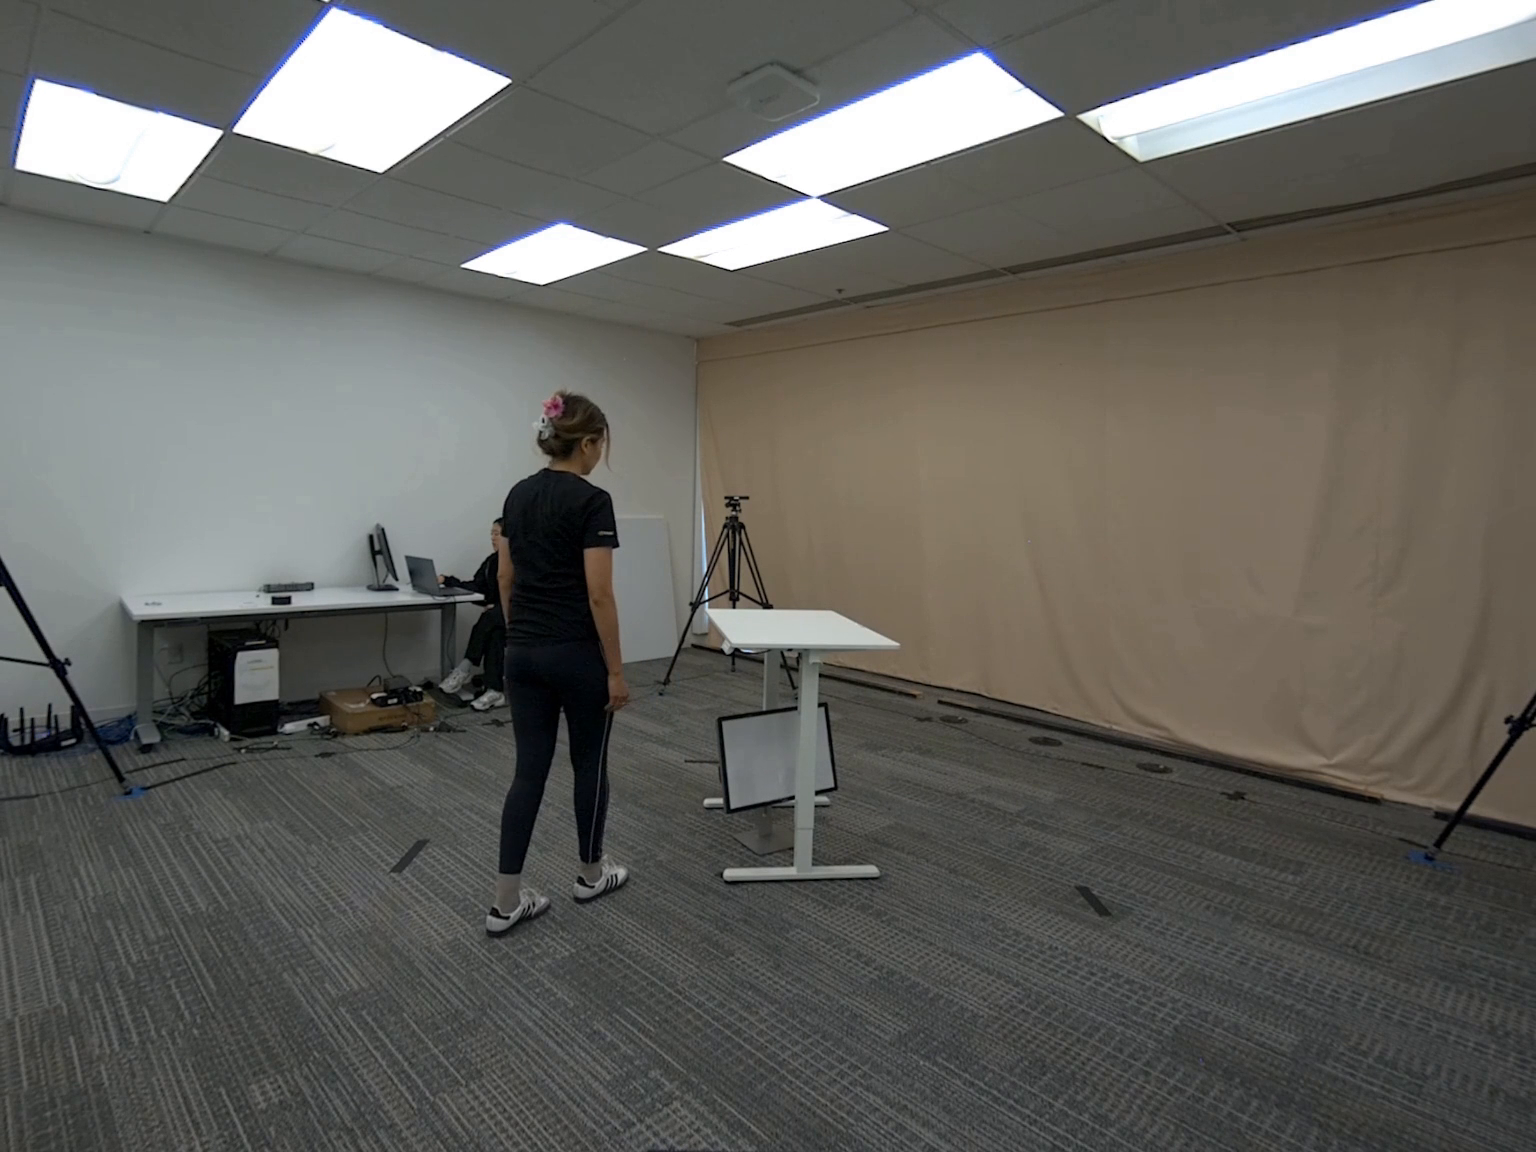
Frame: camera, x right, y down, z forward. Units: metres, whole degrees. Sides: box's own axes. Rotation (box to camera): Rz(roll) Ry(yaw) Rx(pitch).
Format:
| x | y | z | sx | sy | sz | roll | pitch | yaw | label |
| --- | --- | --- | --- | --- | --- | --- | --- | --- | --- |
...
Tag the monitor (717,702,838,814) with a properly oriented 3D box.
| x | y | z | sx | sy | sz | roll | pitch | yaw | label |
| --- | --- | --- | --- | --- | --- | --- | --- | --- | --- |
| 0.012 | 0.813 | 3.414 | 0.527 | 0.521 | 0.192 | -2 | 6 | -37 | monitor |
